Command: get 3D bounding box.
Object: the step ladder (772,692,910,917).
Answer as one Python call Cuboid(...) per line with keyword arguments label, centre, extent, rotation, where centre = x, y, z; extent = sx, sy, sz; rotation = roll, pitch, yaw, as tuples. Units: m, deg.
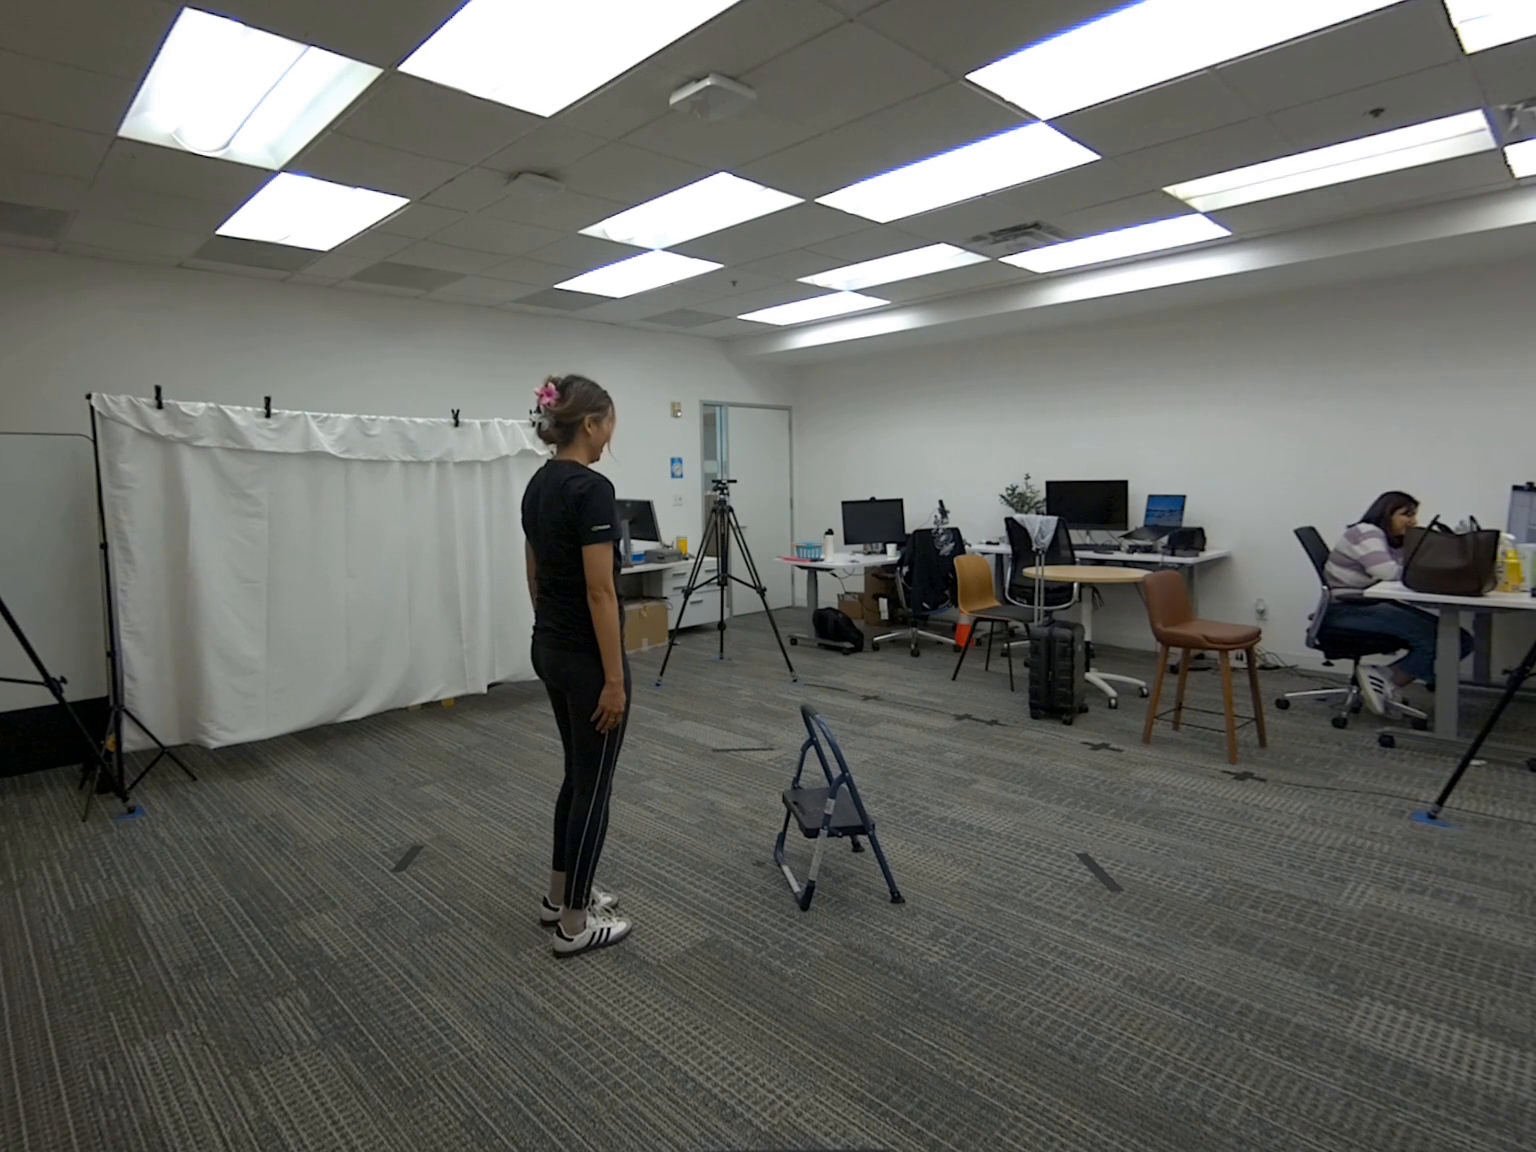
Cuboid(label="step ladder", centre=(0.235, 0.761, 2.967), extent=(0.345, 0.604, 0.437), rotation=(-1, 4, -12))
